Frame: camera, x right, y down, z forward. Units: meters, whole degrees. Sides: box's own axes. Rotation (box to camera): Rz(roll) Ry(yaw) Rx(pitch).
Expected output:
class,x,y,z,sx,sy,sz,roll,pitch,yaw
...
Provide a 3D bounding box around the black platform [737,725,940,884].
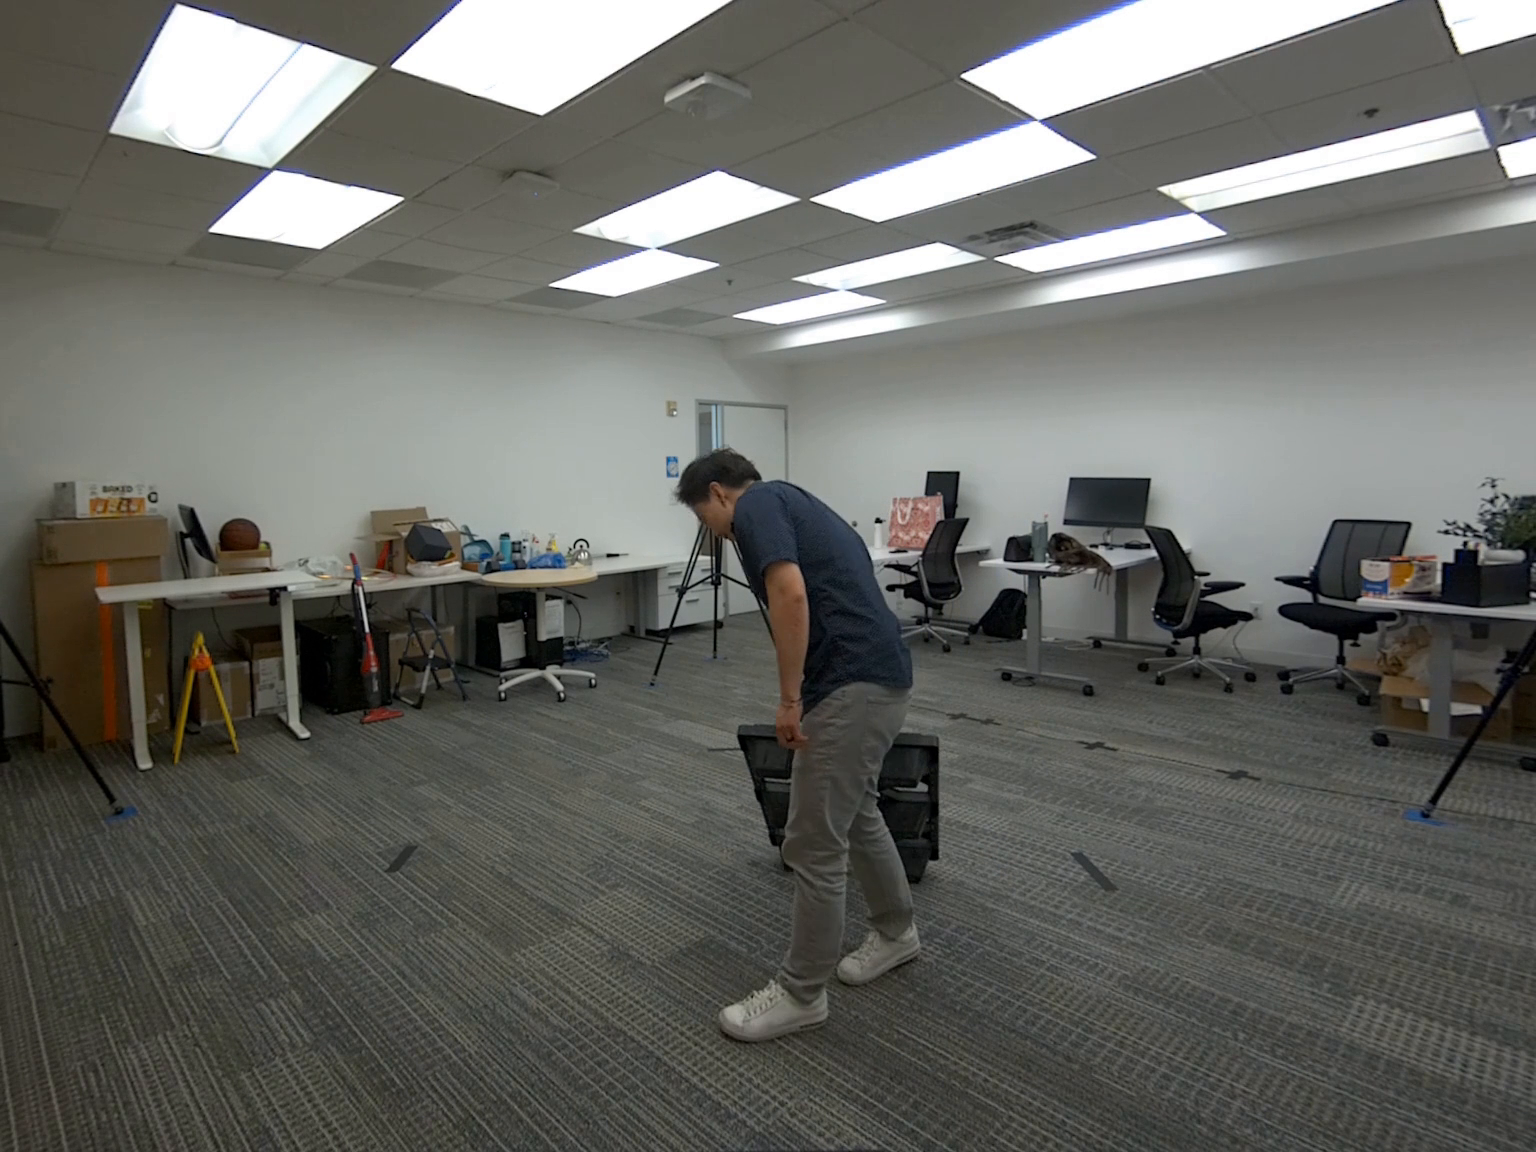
class,x,y,z,sx,sy,sz,roll,pitch,yaw
black platform,0.252,0.767,2.771,0.613,0.779,0.146,1,47,13
